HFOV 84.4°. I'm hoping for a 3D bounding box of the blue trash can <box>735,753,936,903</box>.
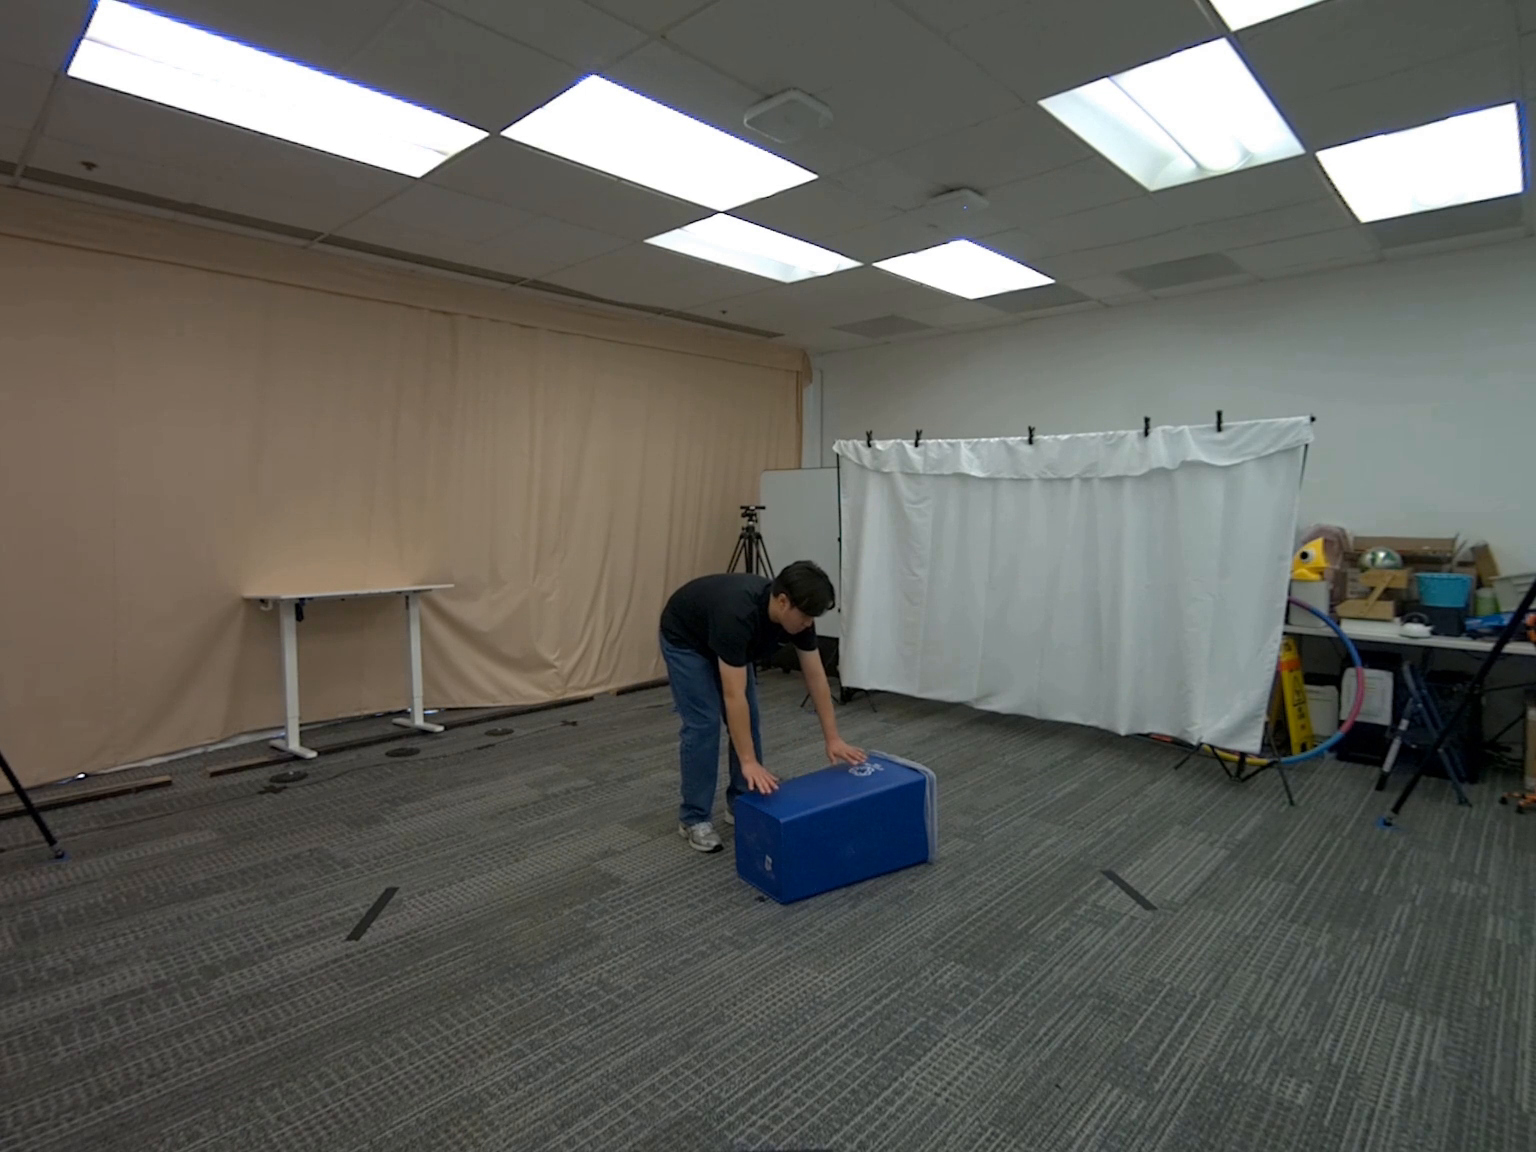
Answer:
[{"bbox_3d":[0.264,0.956,3.216,0.694,0.377,0.386,-7,7,-34],"label":"blue trash can"}]
